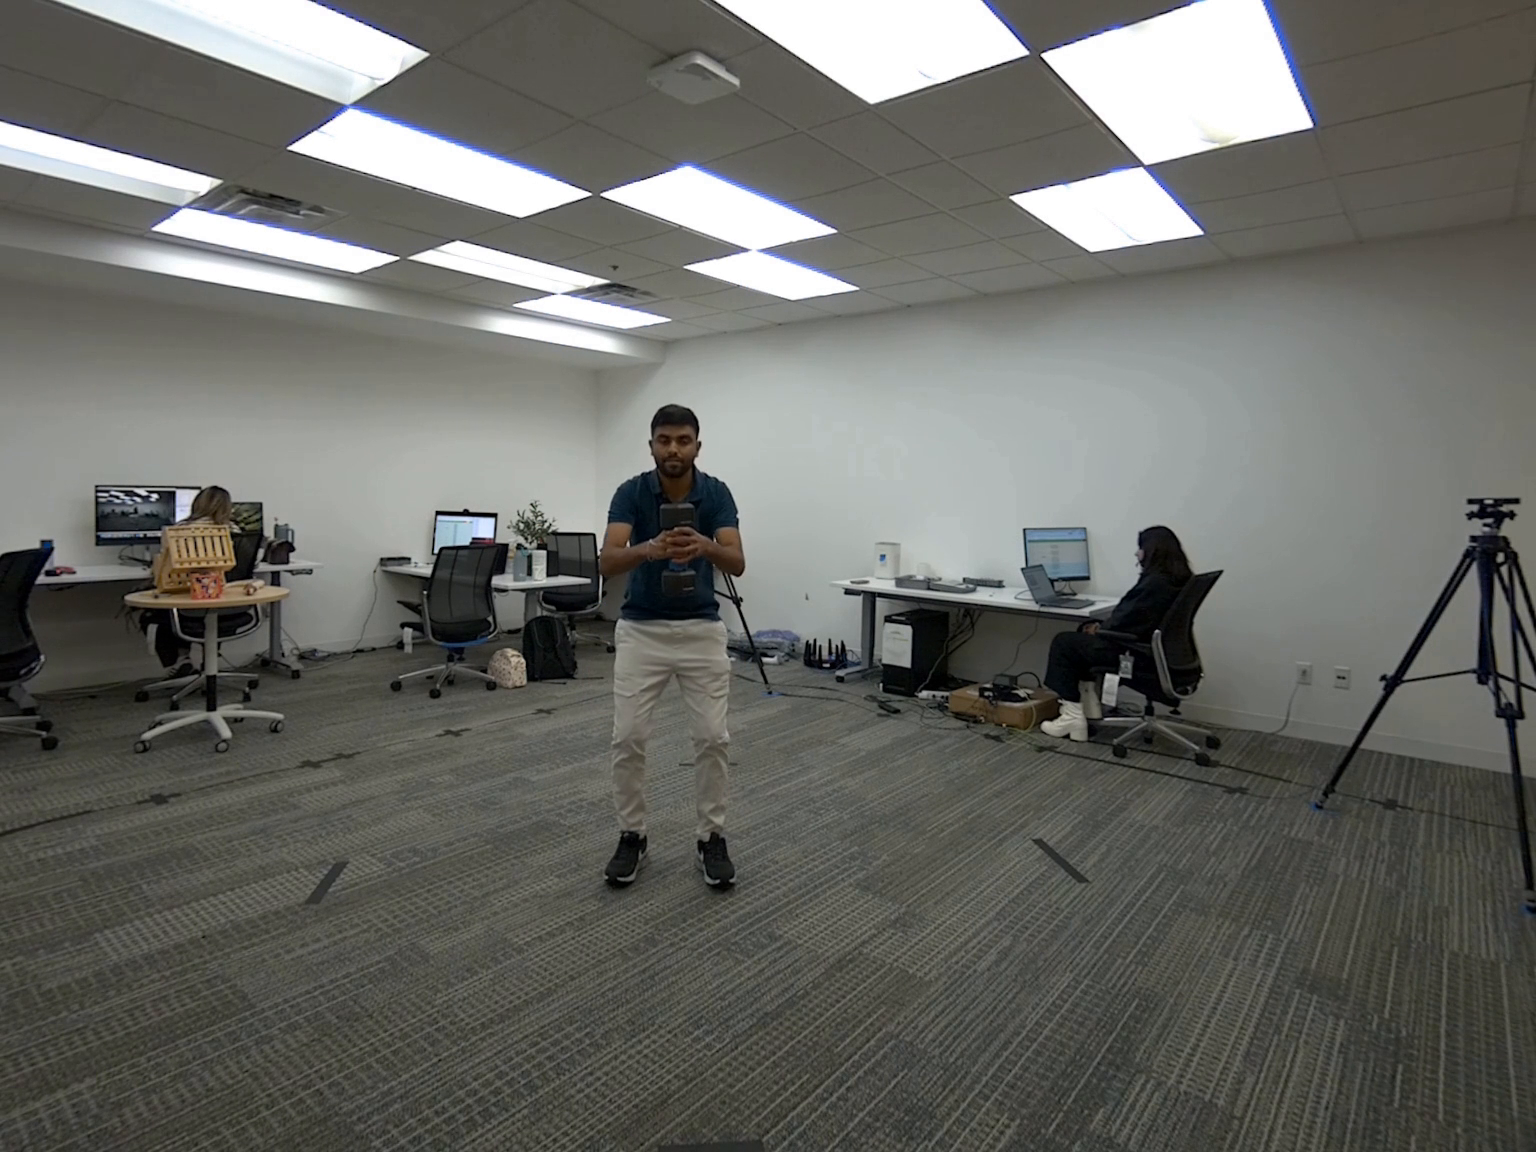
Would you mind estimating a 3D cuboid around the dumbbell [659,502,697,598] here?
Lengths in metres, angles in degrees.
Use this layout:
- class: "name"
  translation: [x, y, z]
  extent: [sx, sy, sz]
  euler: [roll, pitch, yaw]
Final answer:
- class: "dumbbell"
  translation: [-0.300, -0.081, 2.720]
  extent: [0.108, 0.292, 0.124]
  euler: [-2, 5, -8]
